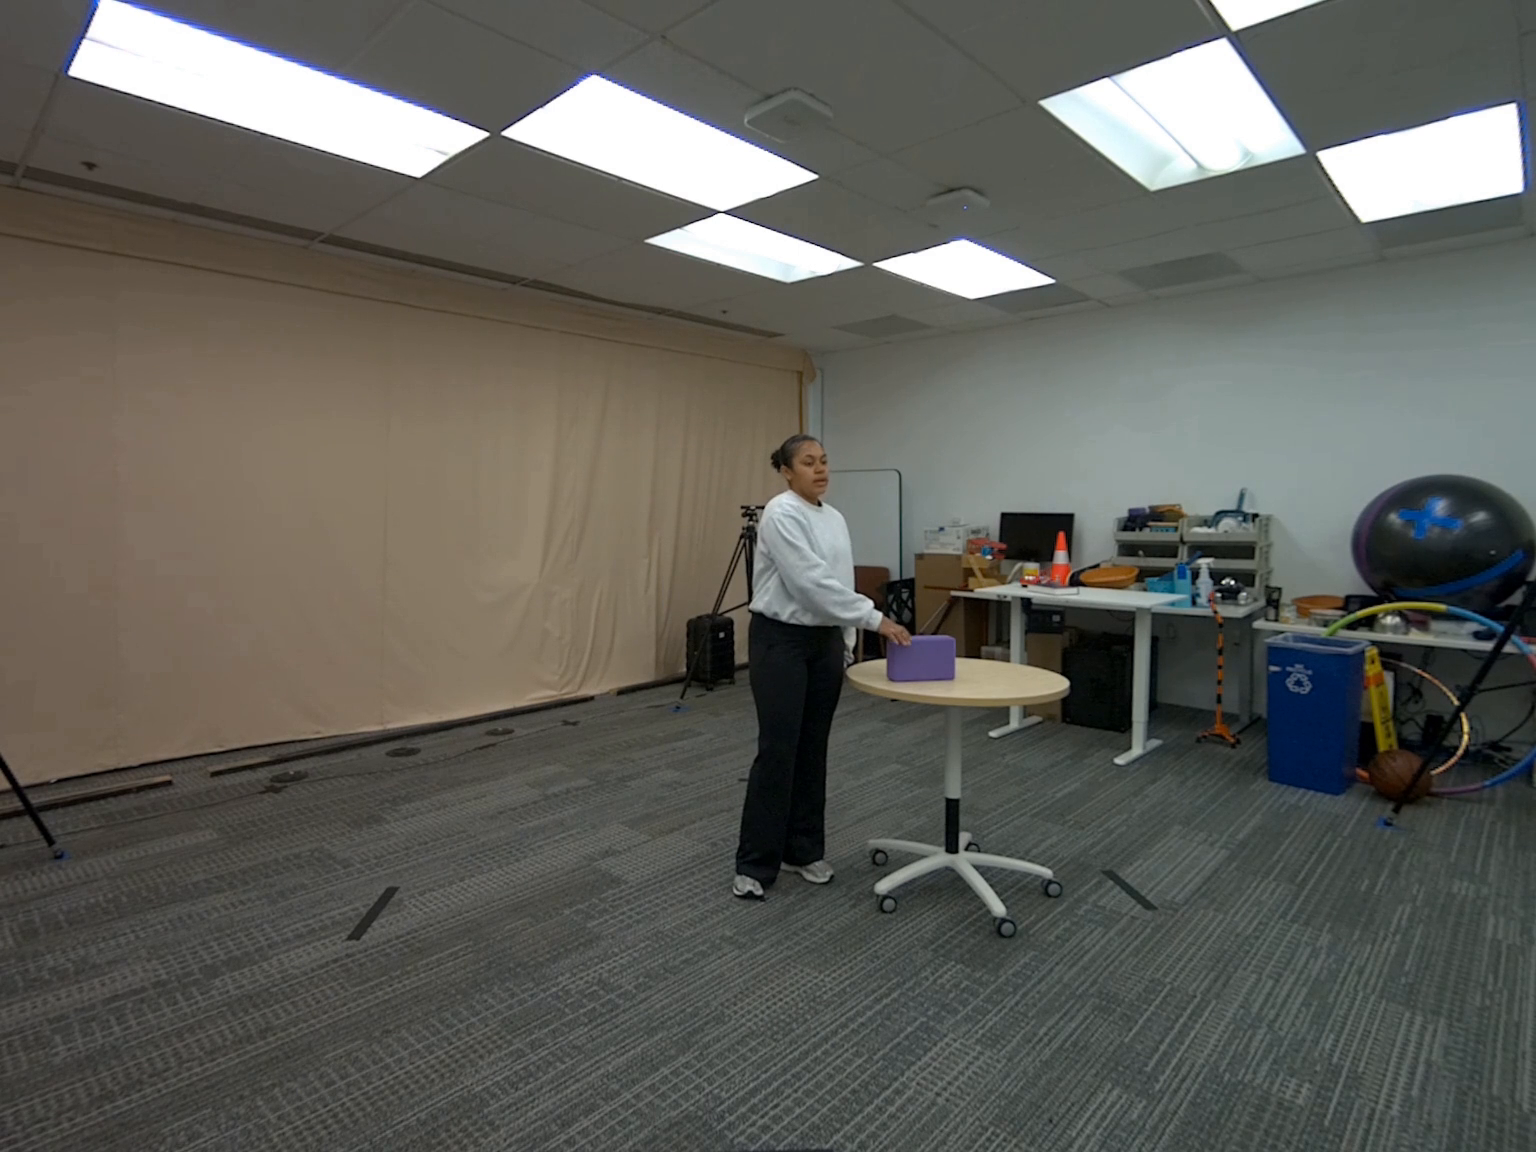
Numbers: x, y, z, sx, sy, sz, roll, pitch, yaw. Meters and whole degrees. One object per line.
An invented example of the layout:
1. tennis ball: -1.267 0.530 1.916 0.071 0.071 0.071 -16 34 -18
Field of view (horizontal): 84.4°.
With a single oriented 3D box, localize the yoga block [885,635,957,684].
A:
1. yoga block: 0.541 0.288 2.931 0.227 0.148 0.077 -1 4 -9
